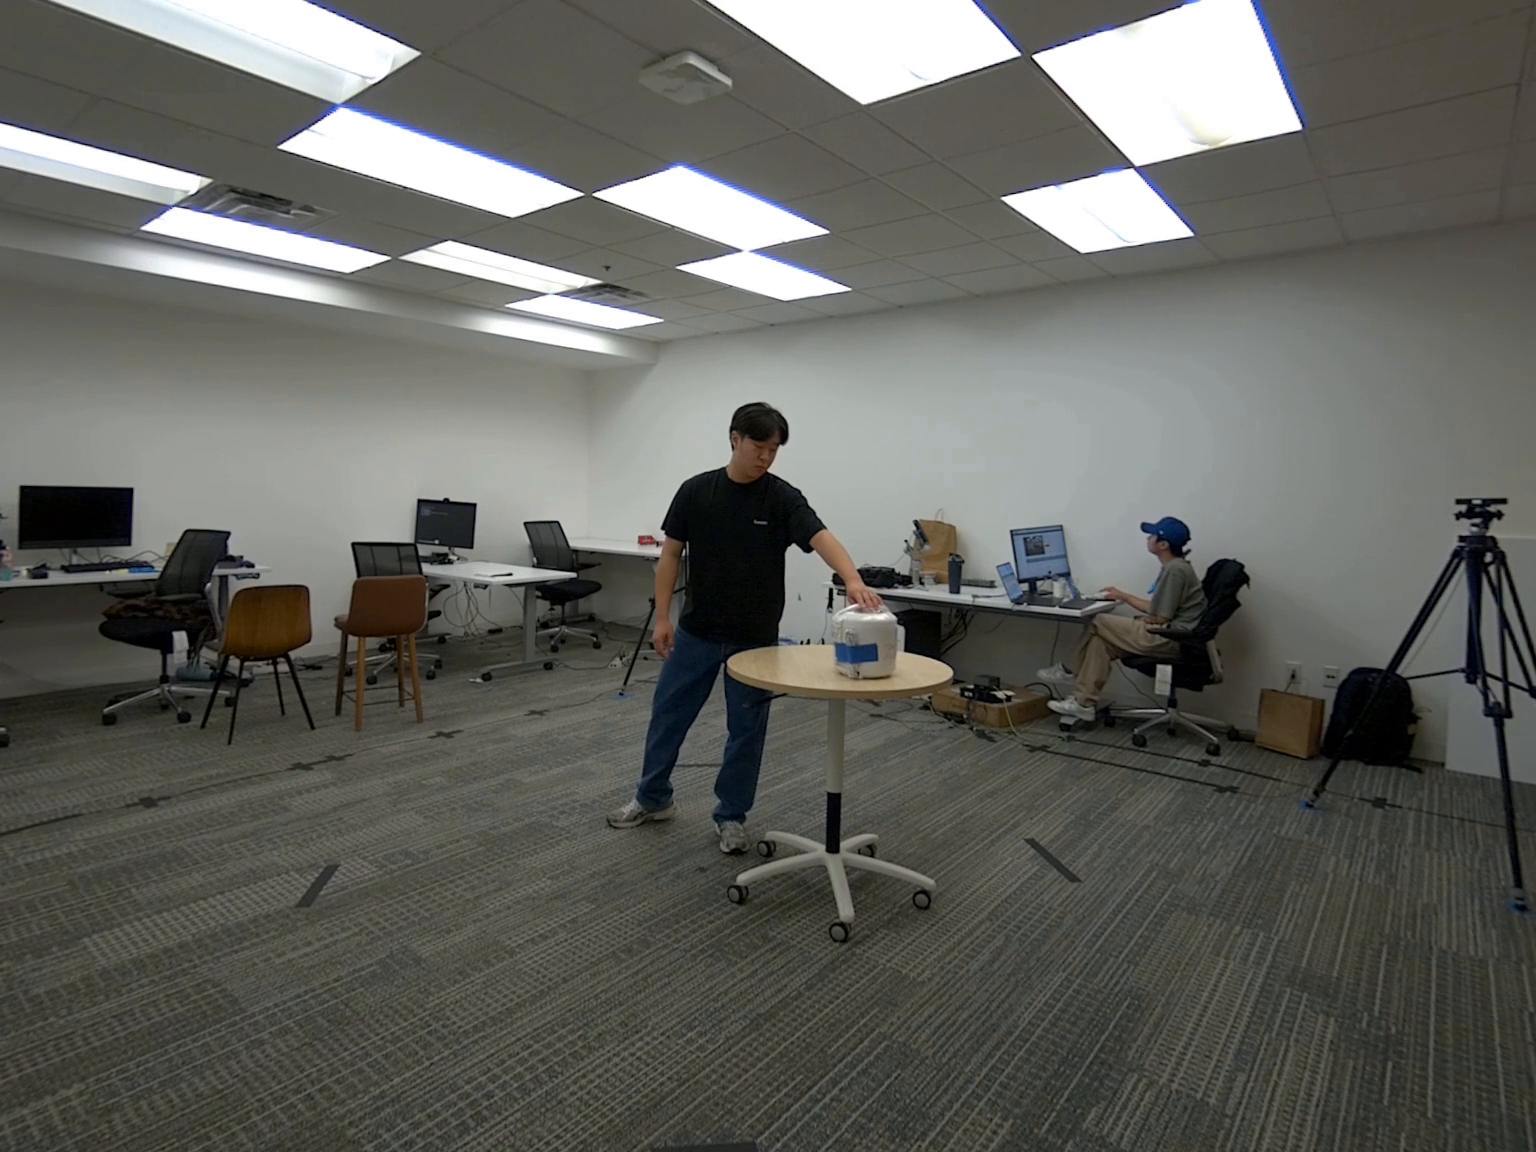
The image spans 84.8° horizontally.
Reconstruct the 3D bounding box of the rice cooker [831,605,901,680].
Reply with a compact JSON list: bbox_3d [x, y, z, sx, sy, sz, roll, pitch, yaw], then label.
[{"bbox_3d":[0.309,0.201,2.786,0.217,0.232,0.222,1,4,-17],"label":"rice cooker"}]
